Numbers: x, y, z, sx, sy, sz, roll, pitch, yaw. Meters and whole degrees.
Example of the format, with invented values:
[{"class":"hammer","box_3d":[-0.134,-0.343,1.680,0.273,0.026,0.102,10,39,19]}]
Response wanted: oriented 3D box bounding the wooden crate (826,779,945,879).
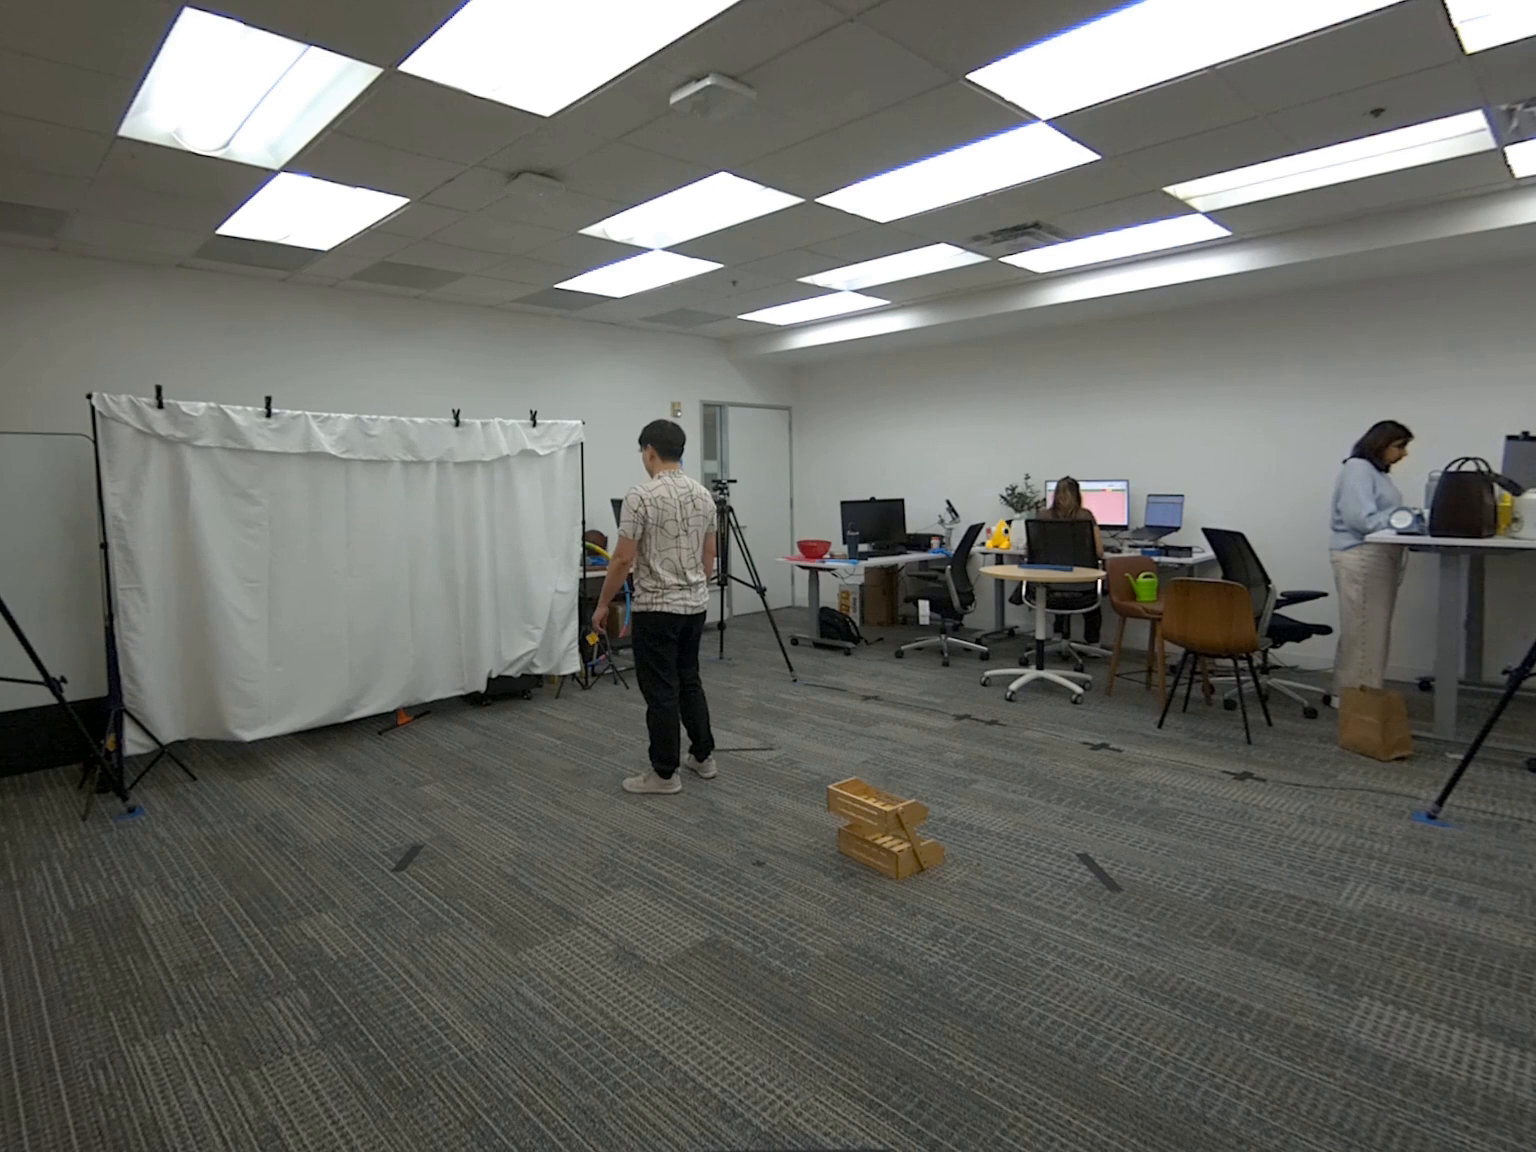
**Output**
[{"class":"wooden crate","box_3d":[0.438,0.903,3.133,0.294,0.272,0.334,-6,7,-37]}]
